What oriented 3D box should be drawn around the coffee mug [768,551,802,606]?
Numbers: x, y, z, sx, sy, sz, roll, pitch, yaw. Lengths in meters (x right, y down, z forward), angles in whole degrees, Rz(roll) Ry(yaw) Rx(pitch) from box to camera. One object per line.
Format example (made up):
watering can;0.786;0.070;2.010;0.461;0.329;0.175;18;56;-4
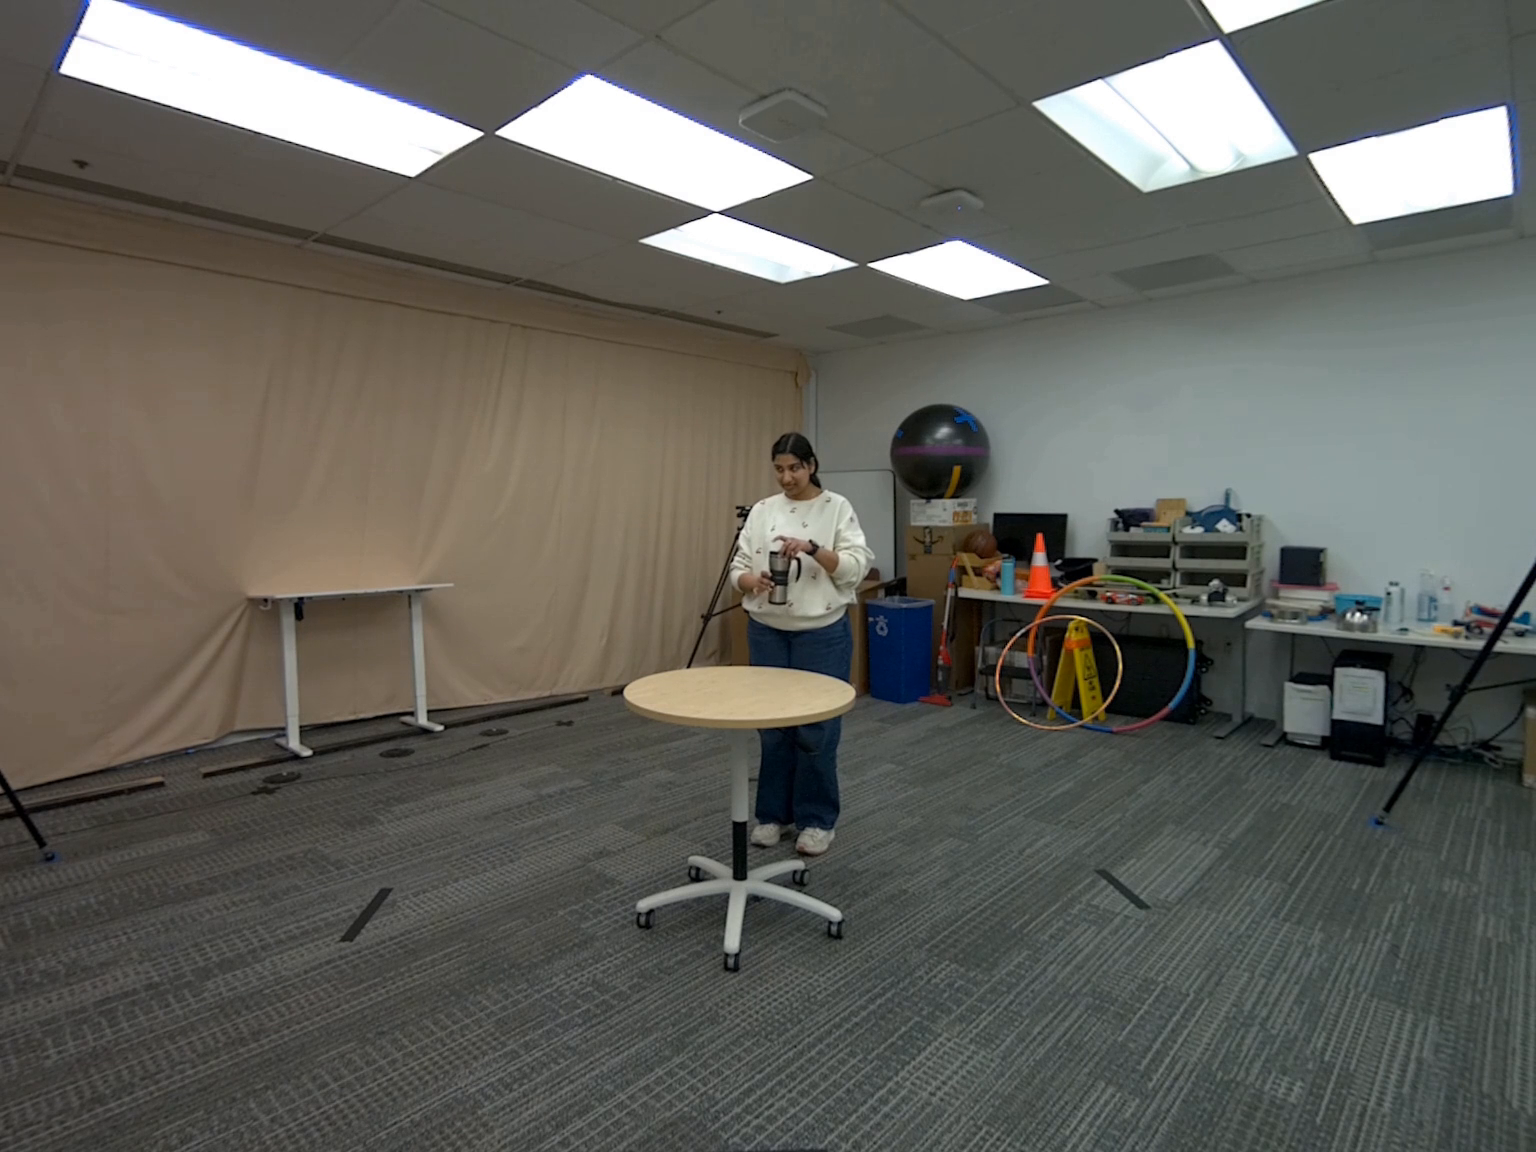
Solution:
coffee mug;0.062;0.010;3.164;0.126;0.203;0.085;11;4;44
